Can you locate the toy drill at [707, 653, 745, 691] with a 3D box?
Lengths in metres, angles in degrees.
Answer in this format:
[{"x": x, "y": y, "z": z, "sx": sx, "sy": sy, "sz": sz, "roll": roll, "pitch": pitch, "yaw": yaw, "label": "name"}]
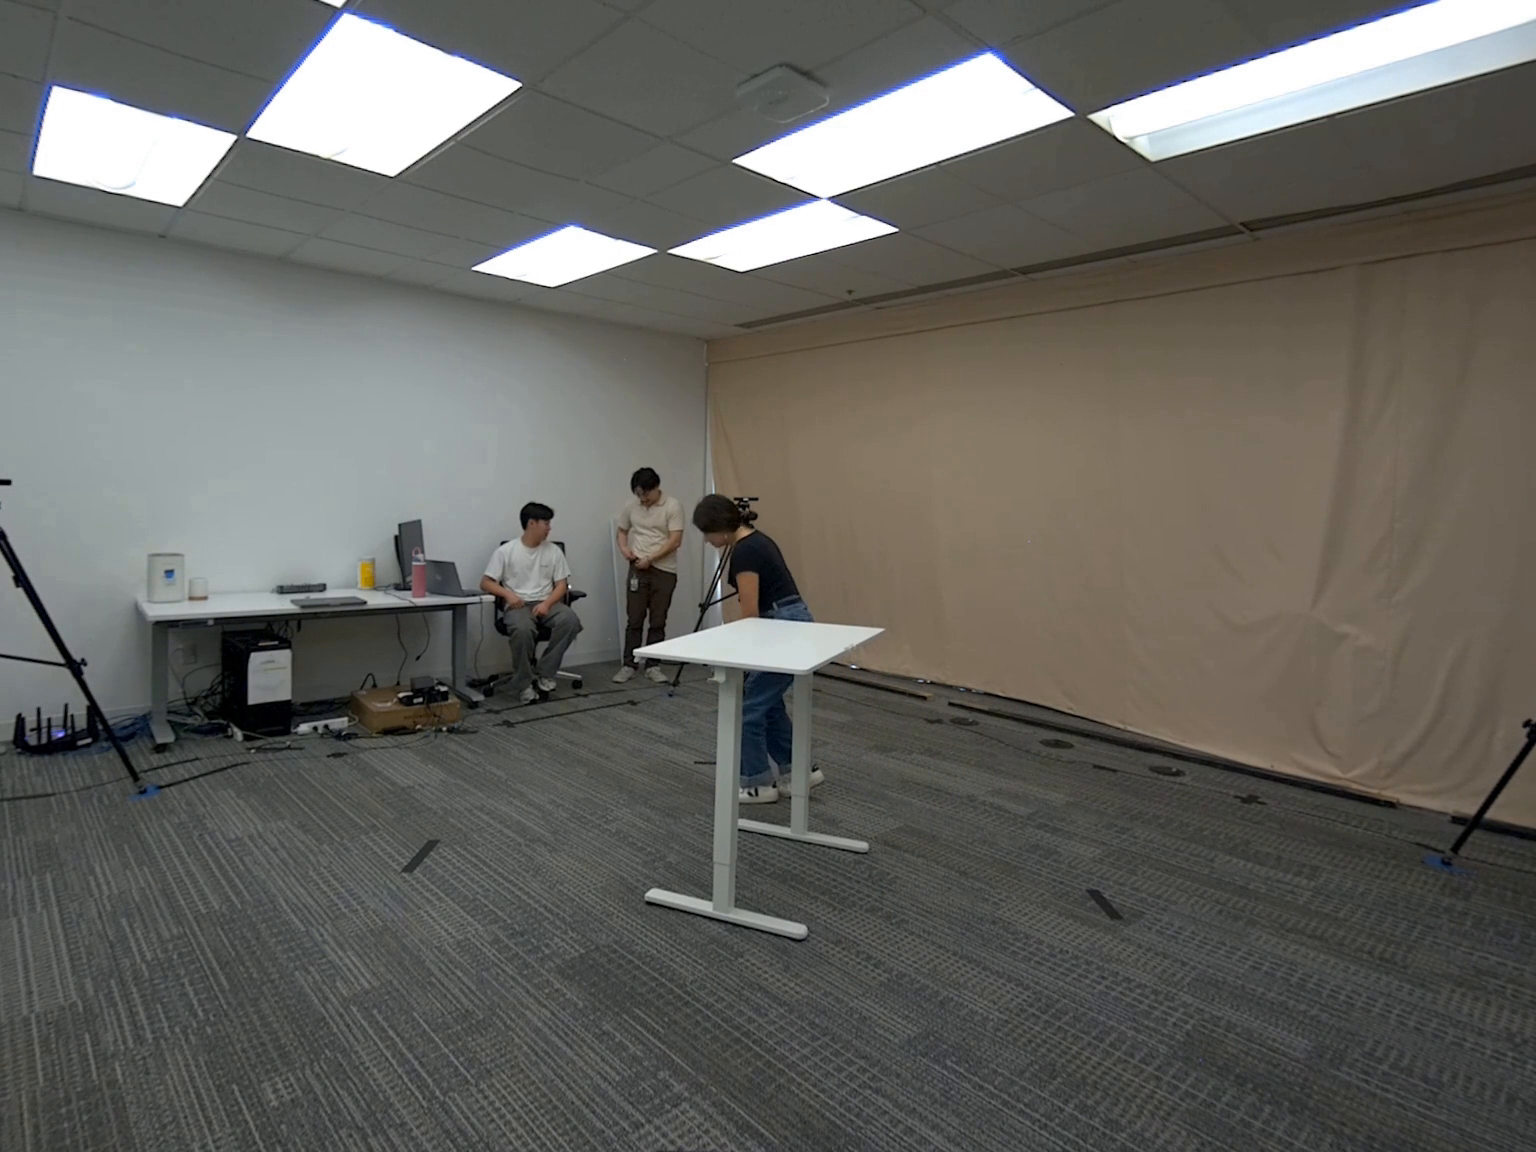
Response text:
[{"x": -0.207, "y": 0.460, "z": 4.076, "sx": 0.144, "sy": 0.167, "sz": 0.063, "roll": -11, "pitch": 50, "yaw": -22, "label": "toy drill"}]
